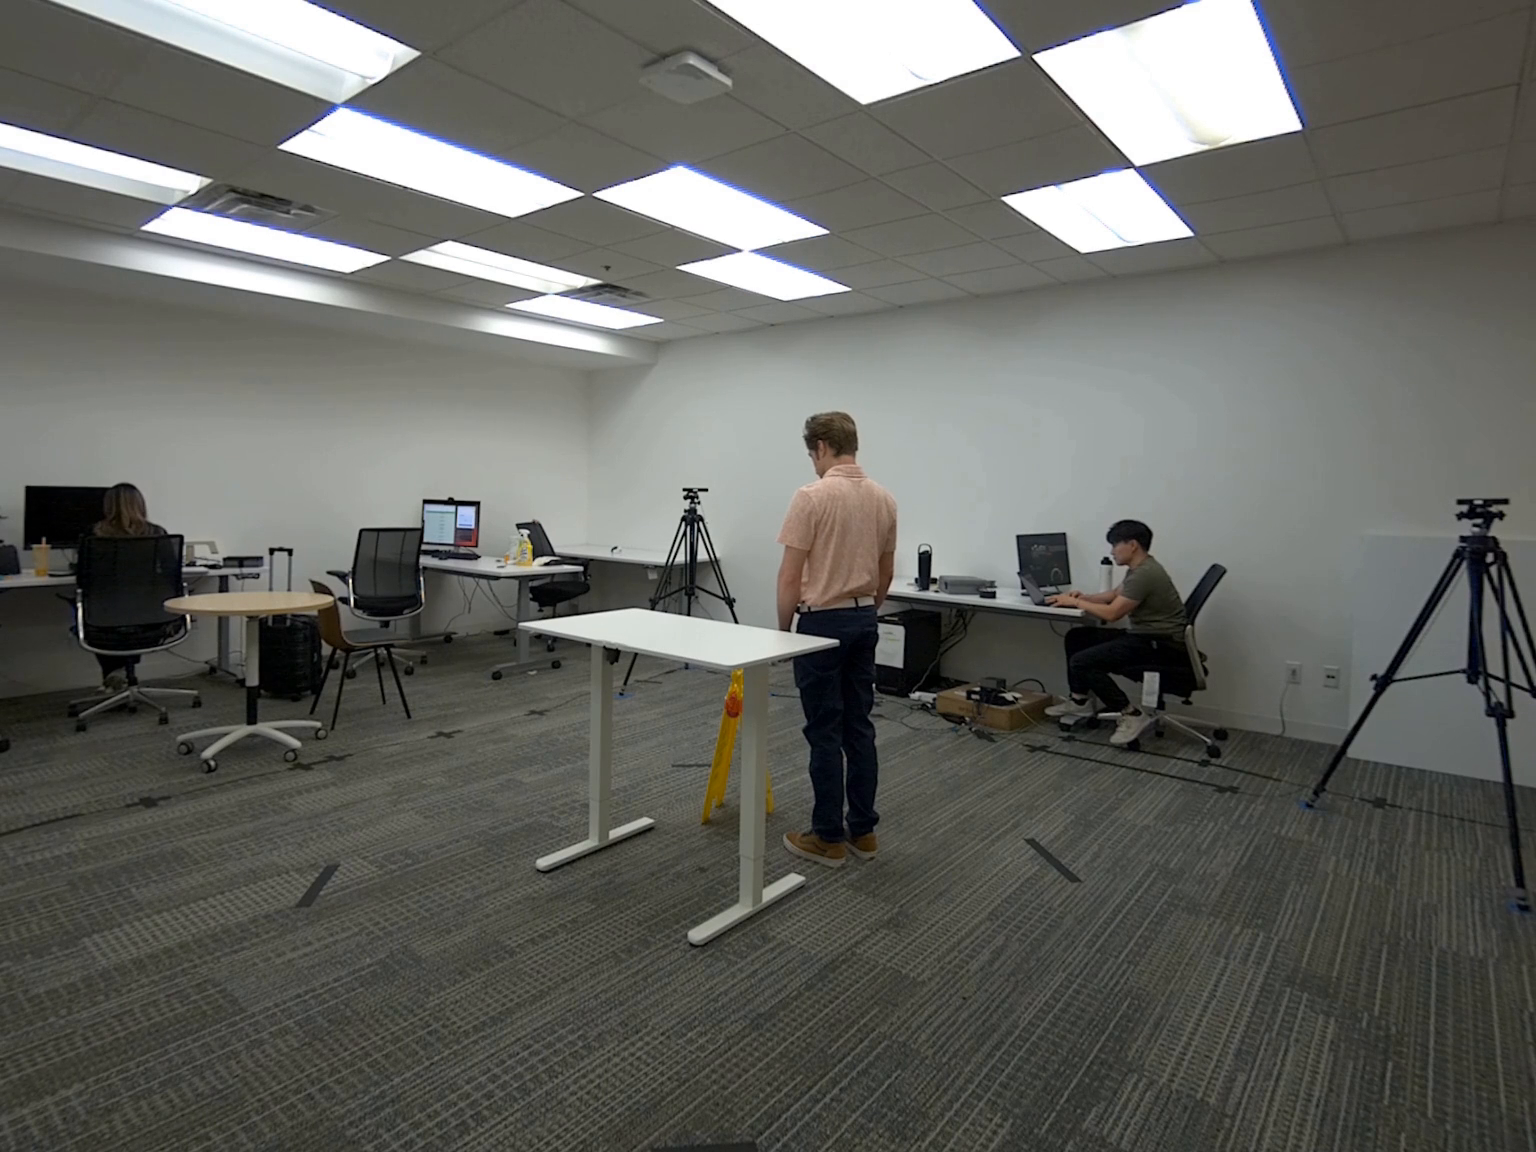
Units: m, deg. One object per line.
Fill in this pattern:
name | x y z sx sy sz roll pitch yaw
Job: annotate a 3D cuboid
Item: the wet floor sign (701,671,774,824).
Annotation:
wet floor sign | -0.128 0.699 3.613 0.294 0.644 0.279 2 4 13
